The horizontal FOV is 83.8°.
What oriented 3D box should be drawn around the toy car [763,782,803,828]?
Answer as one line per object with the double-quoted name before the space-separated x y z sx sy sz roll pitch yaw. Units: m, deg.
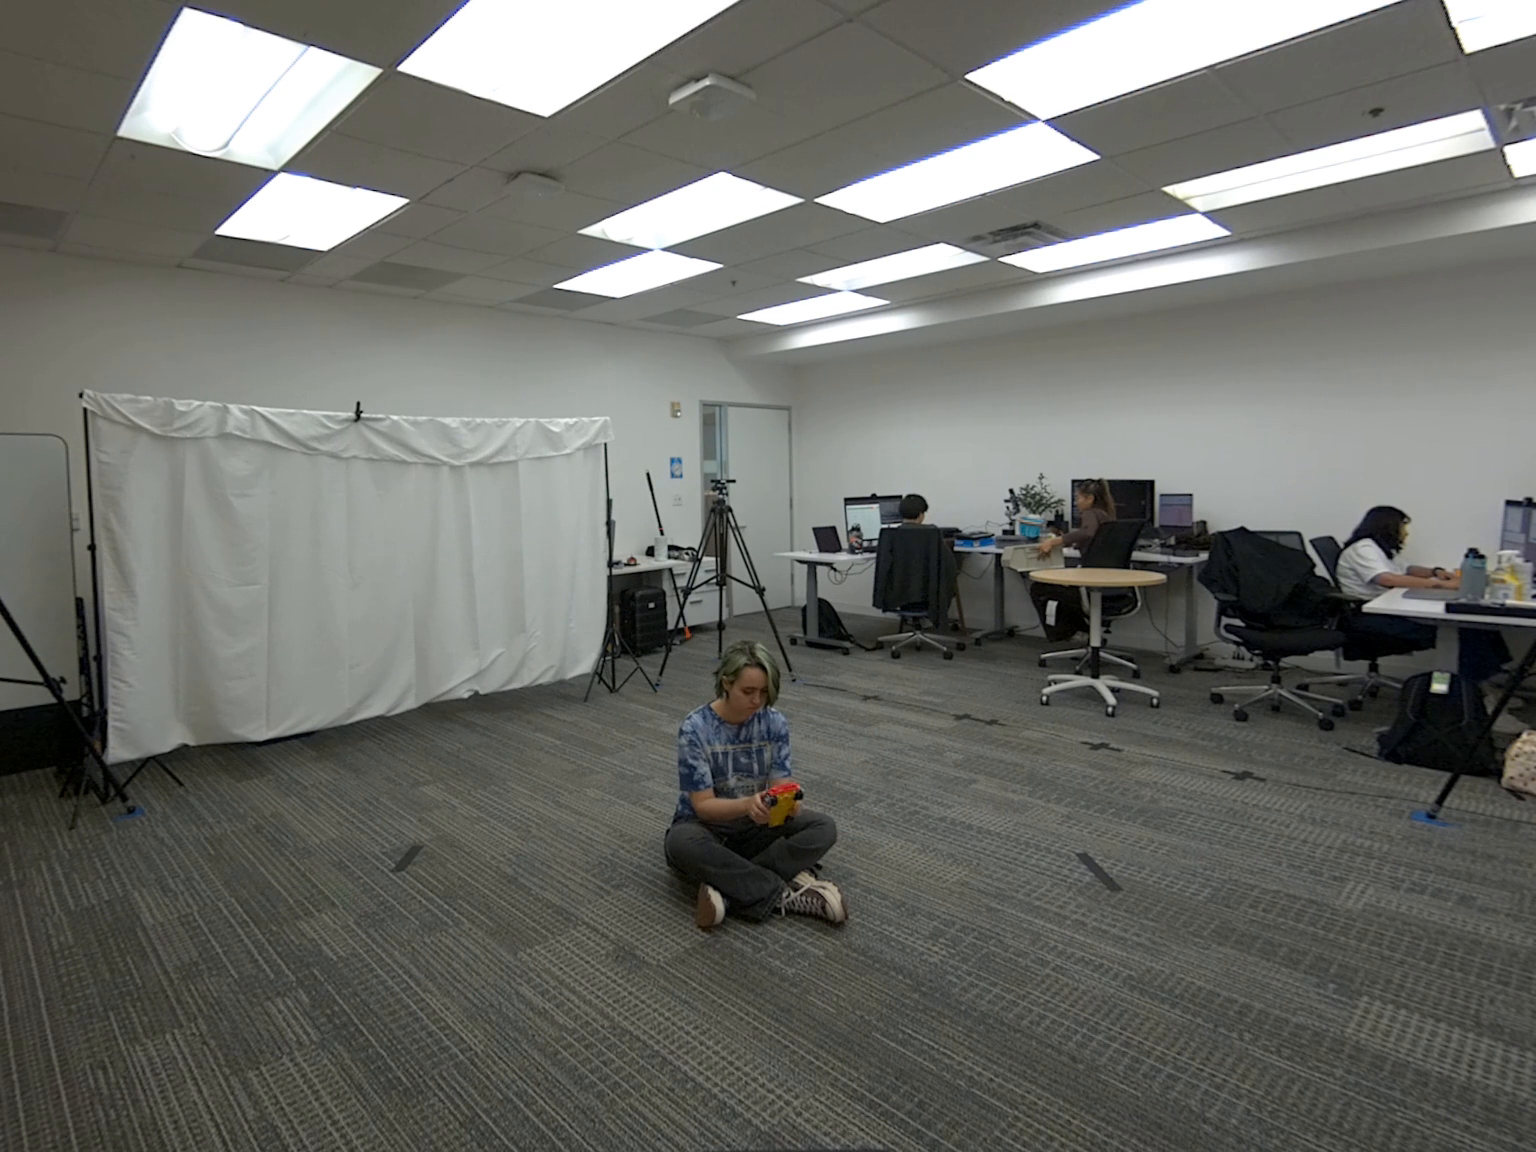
"toy car" 0.022 0.748 2.698 0.128 0.086 0.251 -9 -29 -22
